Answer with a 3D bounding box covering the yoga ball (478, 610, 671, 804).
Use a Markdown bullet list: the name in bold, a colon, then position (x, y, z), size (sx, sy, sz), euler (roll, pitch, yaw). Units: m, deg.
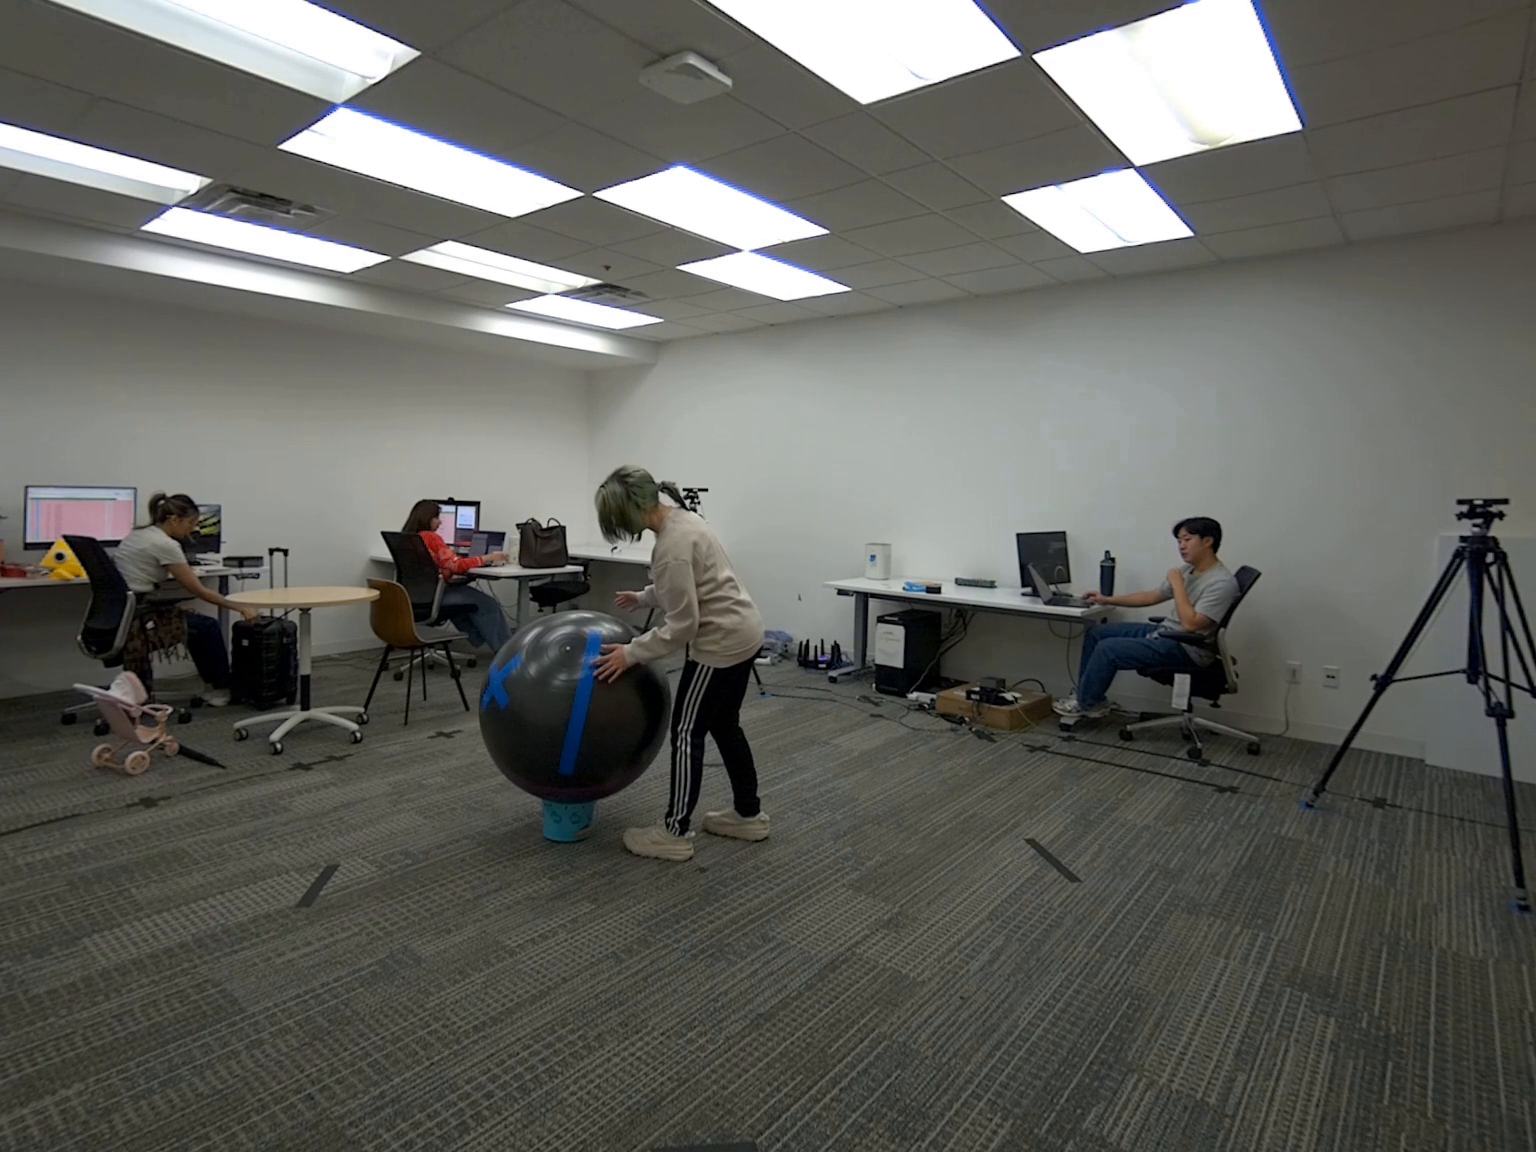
- **yoga ball**: position (-0.789, 0.517, 3.407), size (0.757, 0.755, 0.762), euler (1, 4, -2)
